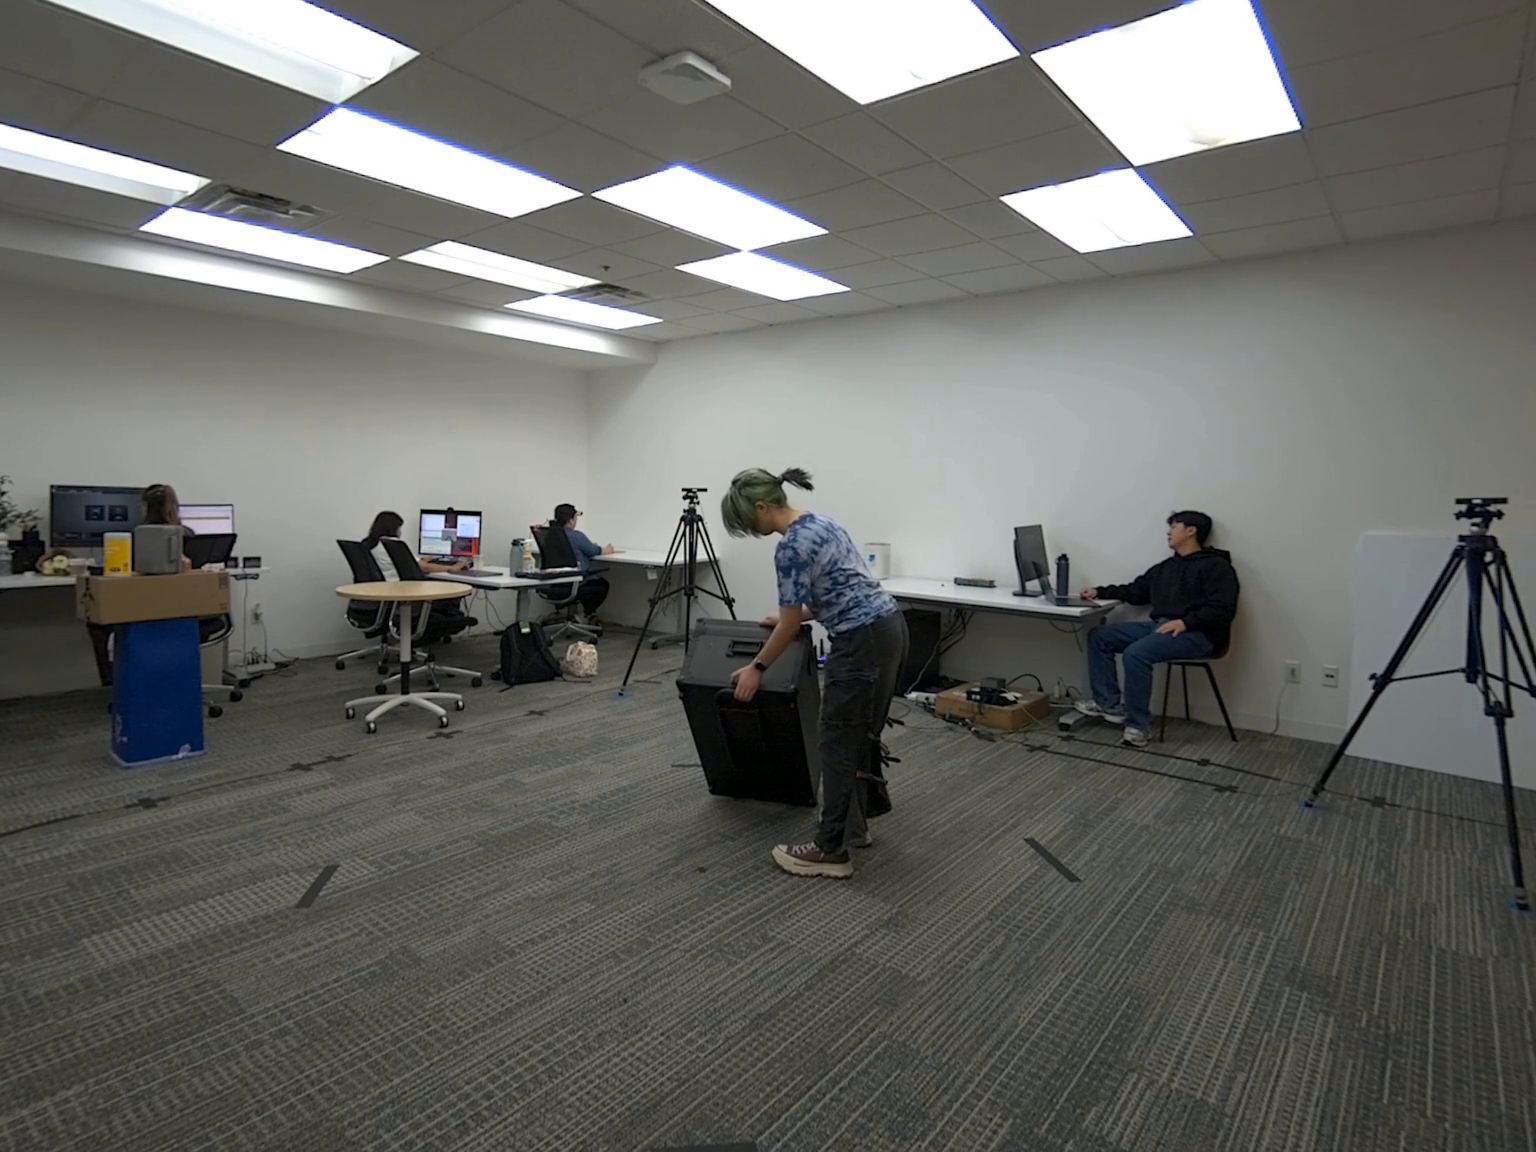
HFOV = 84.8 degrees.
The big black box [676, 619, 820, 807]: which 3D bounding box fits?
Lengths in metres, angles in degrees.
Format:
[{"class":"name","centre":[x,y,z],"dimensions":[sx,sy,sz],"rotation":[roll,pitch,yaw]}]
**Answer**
[{"class":"big black box","centre":[-0.047,0.619,3.655],"dimensions":[0.531,0.832,0.403],"rotation":[3,43,16]}]
